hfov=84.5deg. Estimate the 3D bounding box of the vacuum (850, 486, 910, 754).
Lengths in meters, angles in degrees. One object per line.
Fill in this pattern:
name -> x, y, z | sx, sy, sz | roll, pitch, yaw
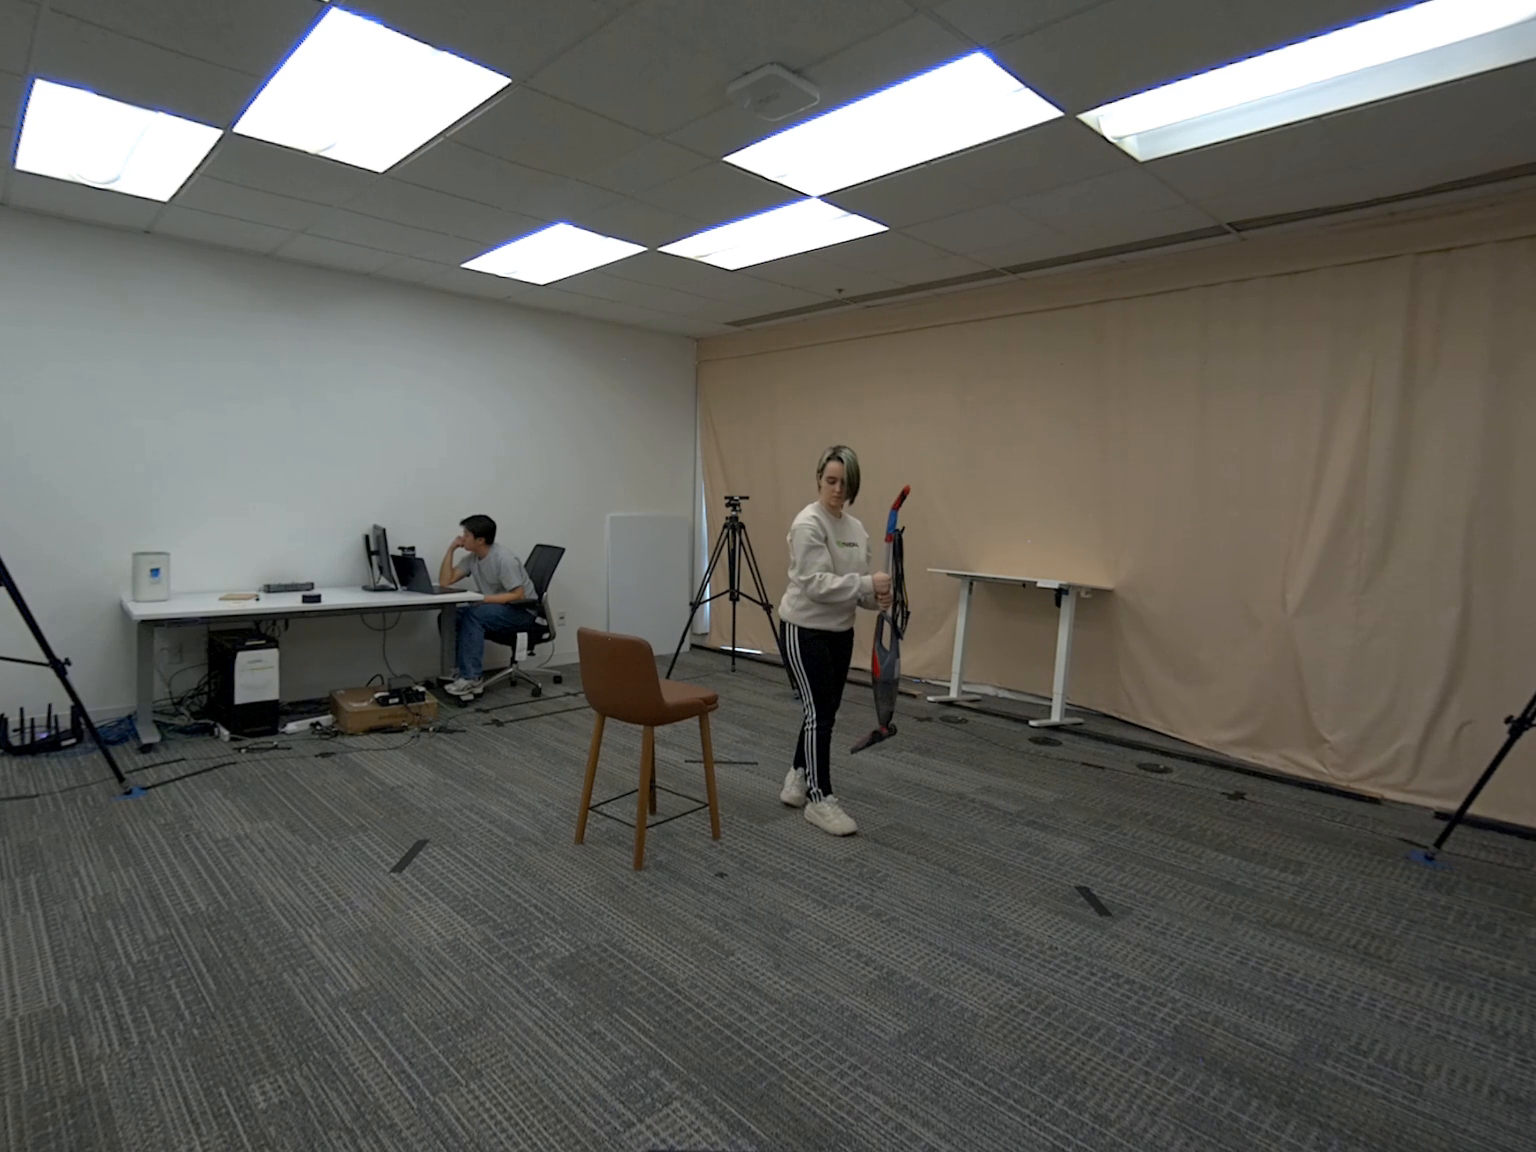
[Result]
vacuum -> 0.502, 0.158, 3.437 | 0.147, 1.044, 0.248 | 11, 9, 30
